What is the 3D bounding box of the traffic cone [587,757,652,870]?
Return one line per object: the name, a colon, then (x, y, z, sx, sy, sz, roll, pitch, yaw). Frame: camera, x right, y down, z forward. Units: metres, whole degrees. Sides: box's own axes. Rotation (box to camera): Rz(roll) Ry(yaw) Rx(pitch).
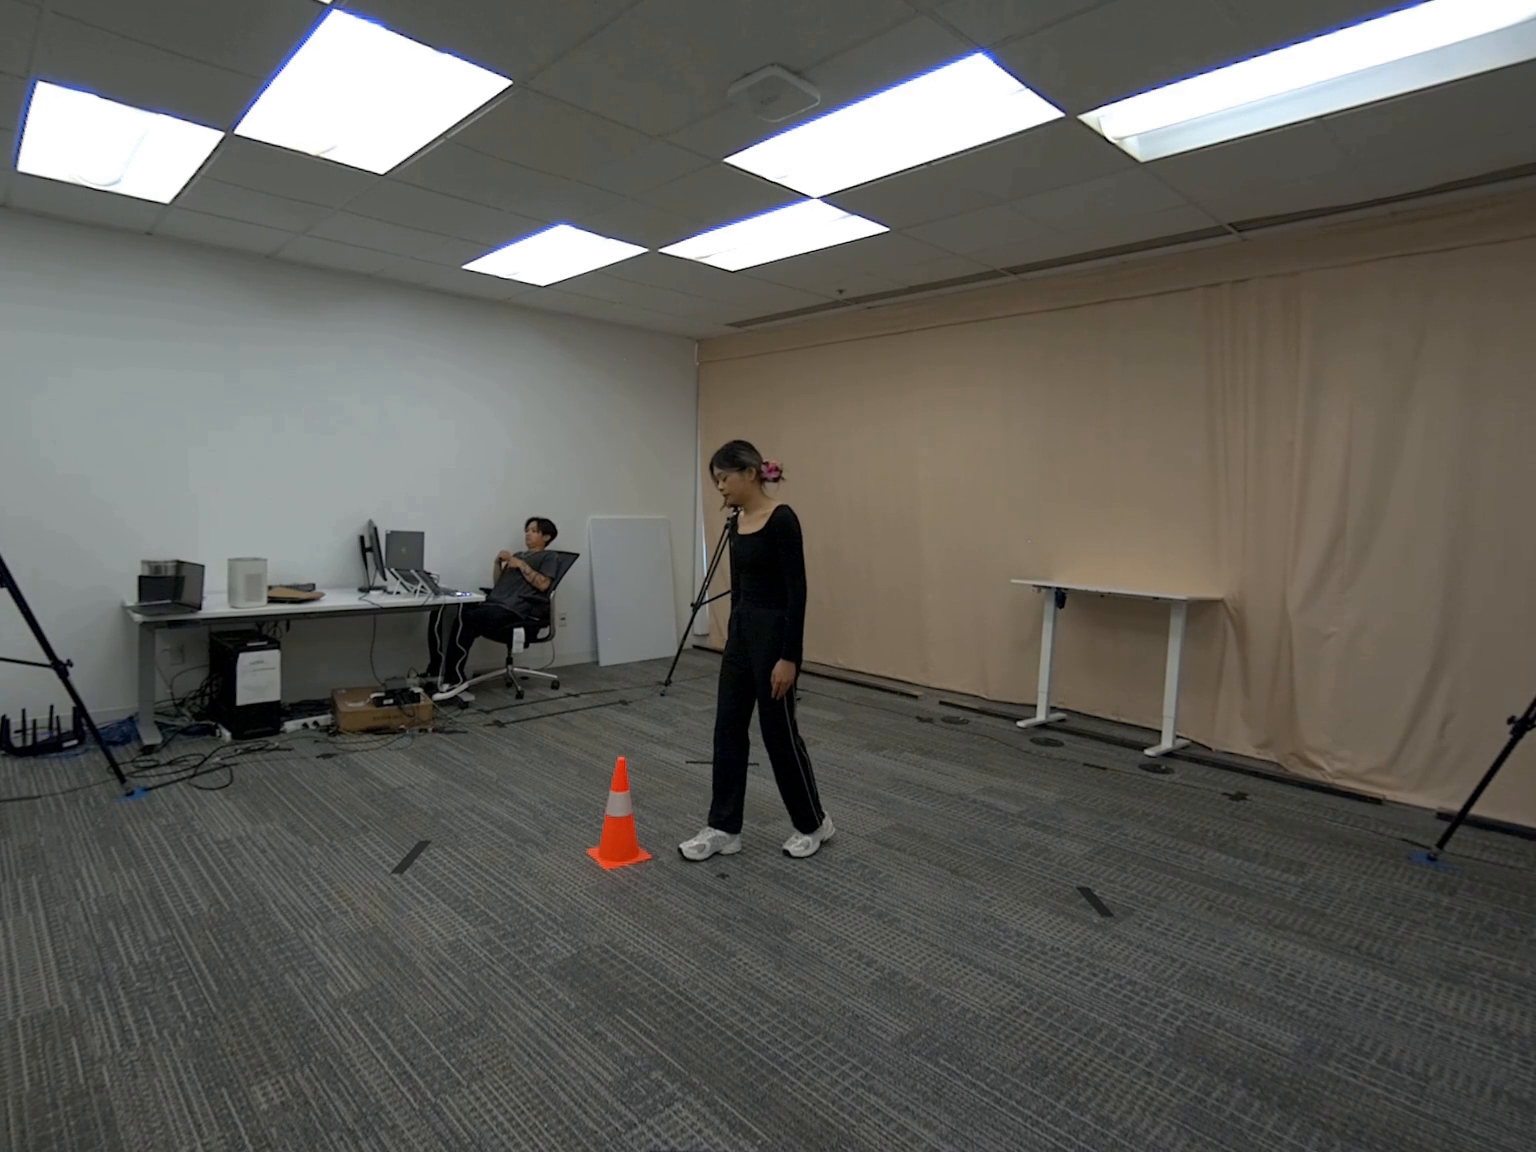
traffic cone: (-0.579, 0.895, 3.256, 0.199, 0.382, 0.210, -1, 5, -34)
